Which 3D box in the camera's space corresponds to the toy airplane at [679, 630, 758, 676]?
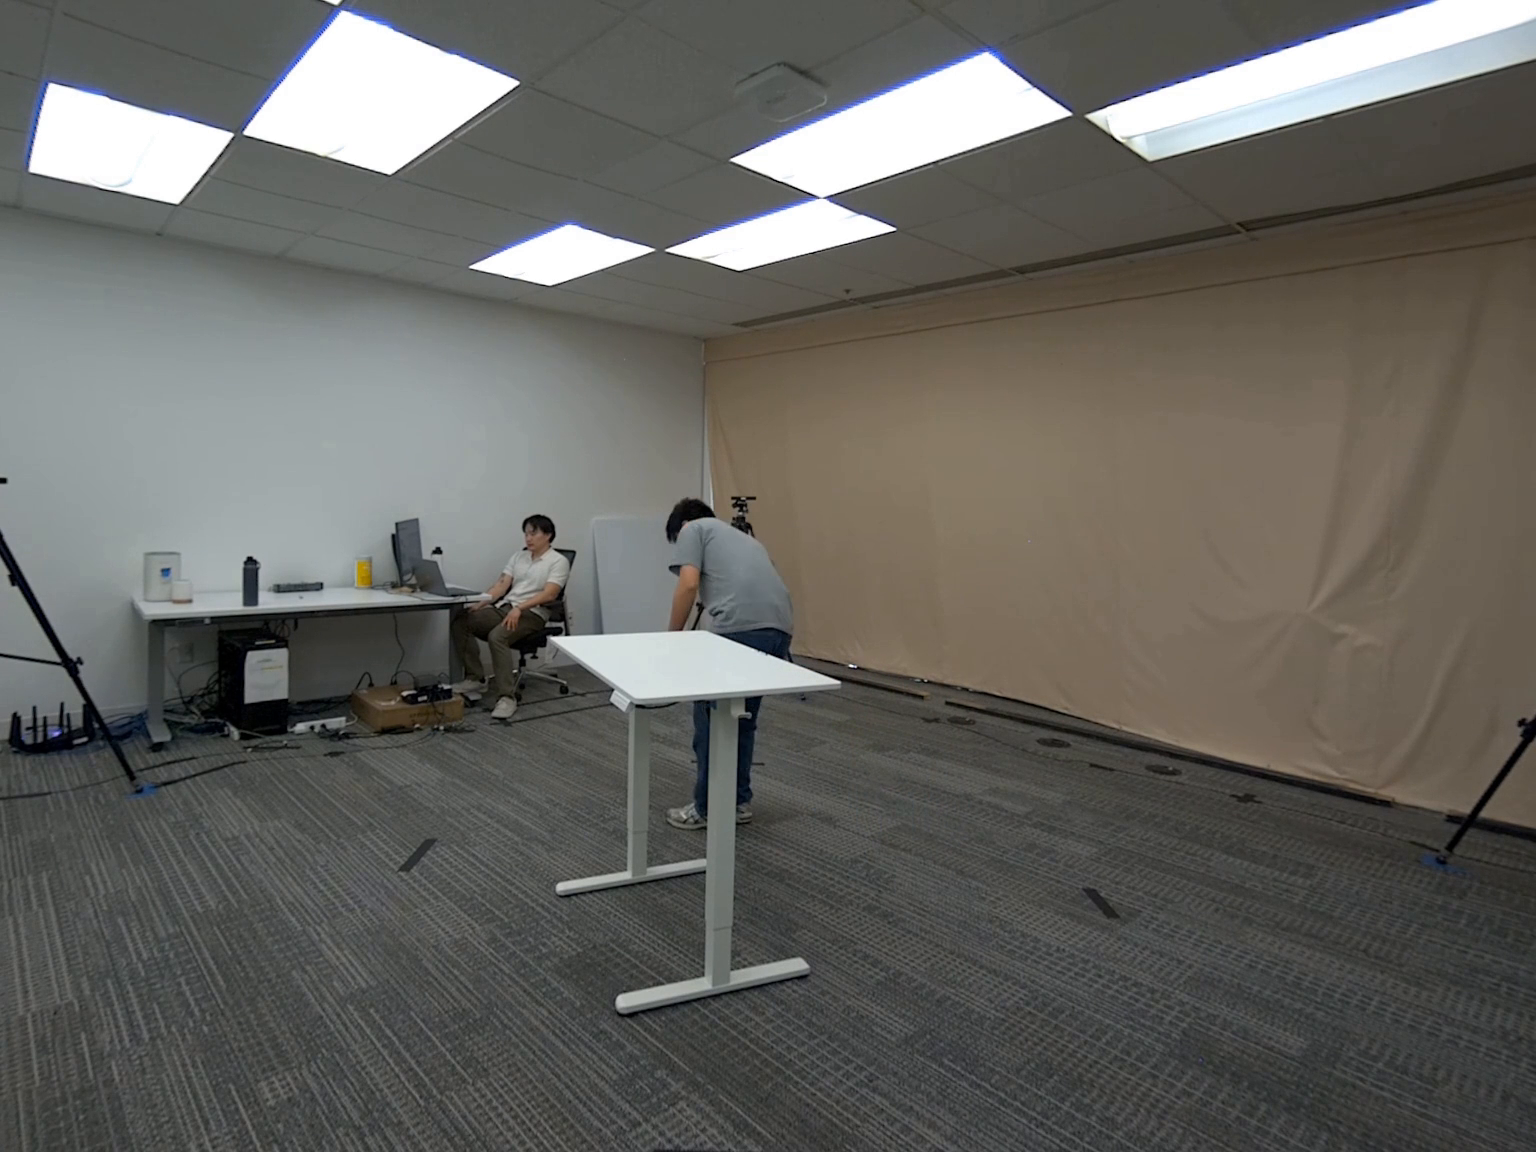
[{"bbox_3d":[-0.238,0.341,4.078,0.254,0.156,0.256,-18,1,30],"label":"toy airplane"}]
